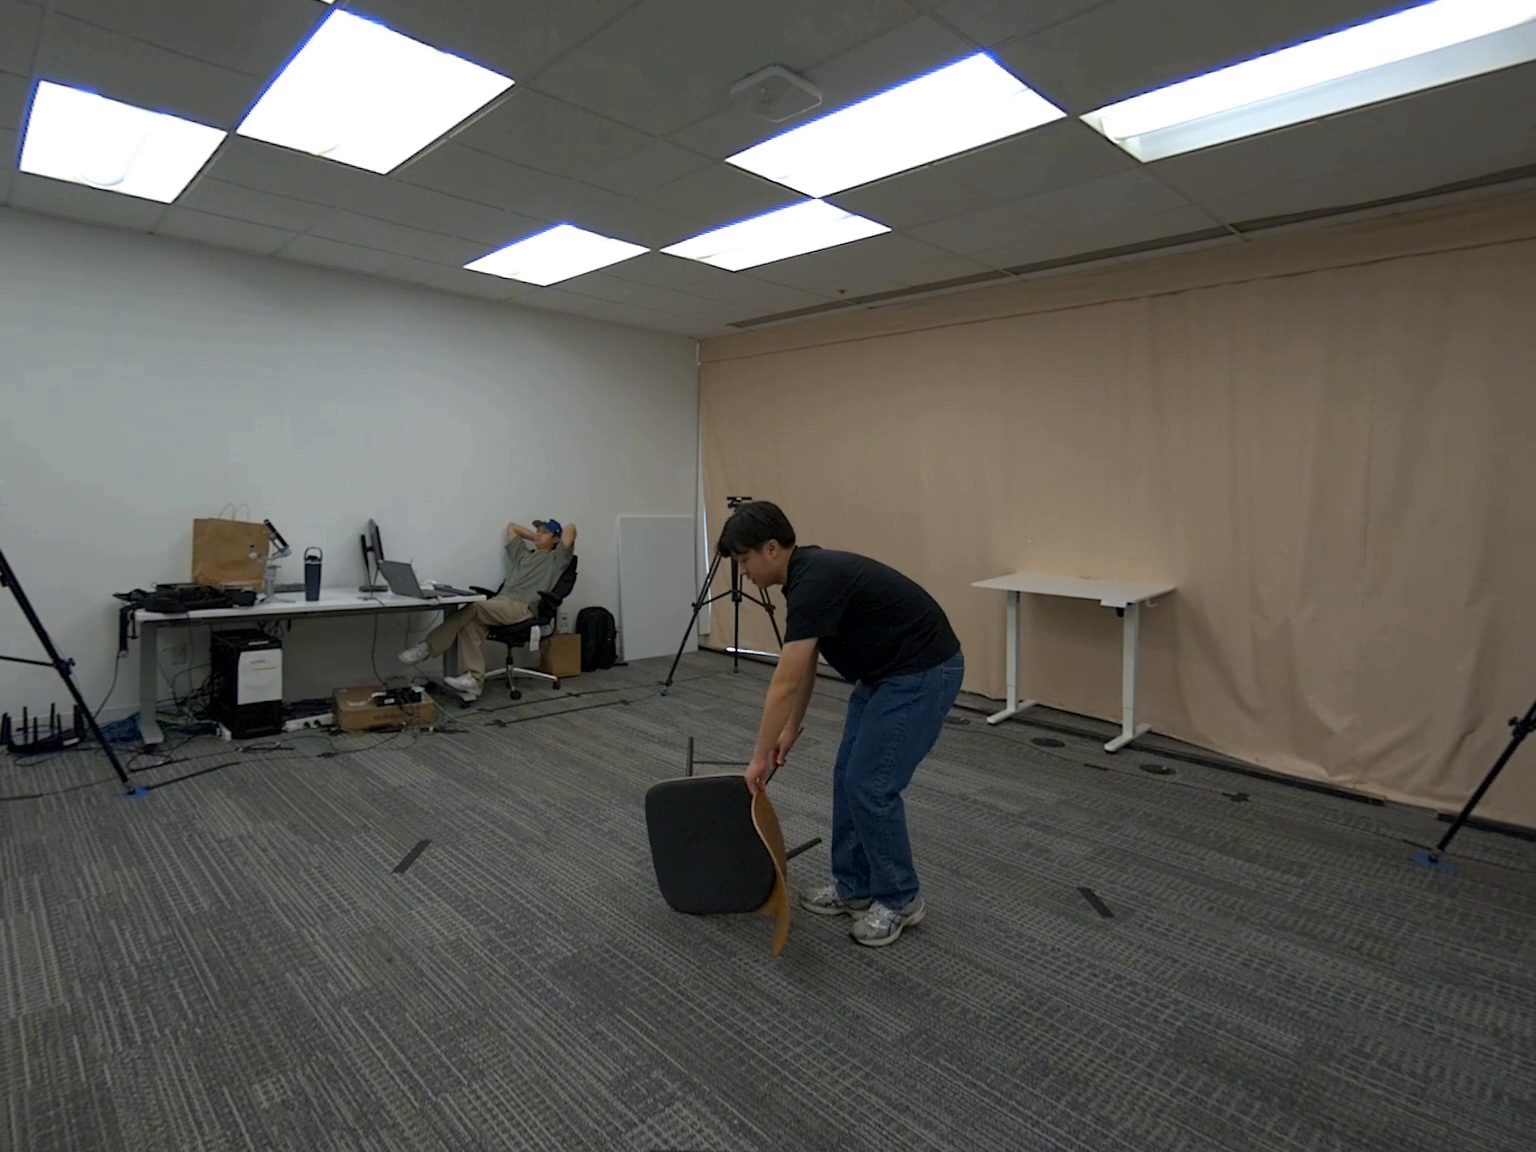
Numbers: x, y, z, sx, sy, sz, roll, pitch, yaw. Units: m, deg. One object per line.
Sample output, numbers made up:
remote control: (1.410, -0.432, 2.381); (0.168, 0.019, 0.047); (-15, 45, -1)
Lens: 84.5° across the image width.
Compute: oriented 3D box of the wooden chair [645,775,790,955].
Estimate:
wooden chair: (-0.142, 0.881, 2.798); (0.527, 0.475, 0.875); (-8, 7, 10)
